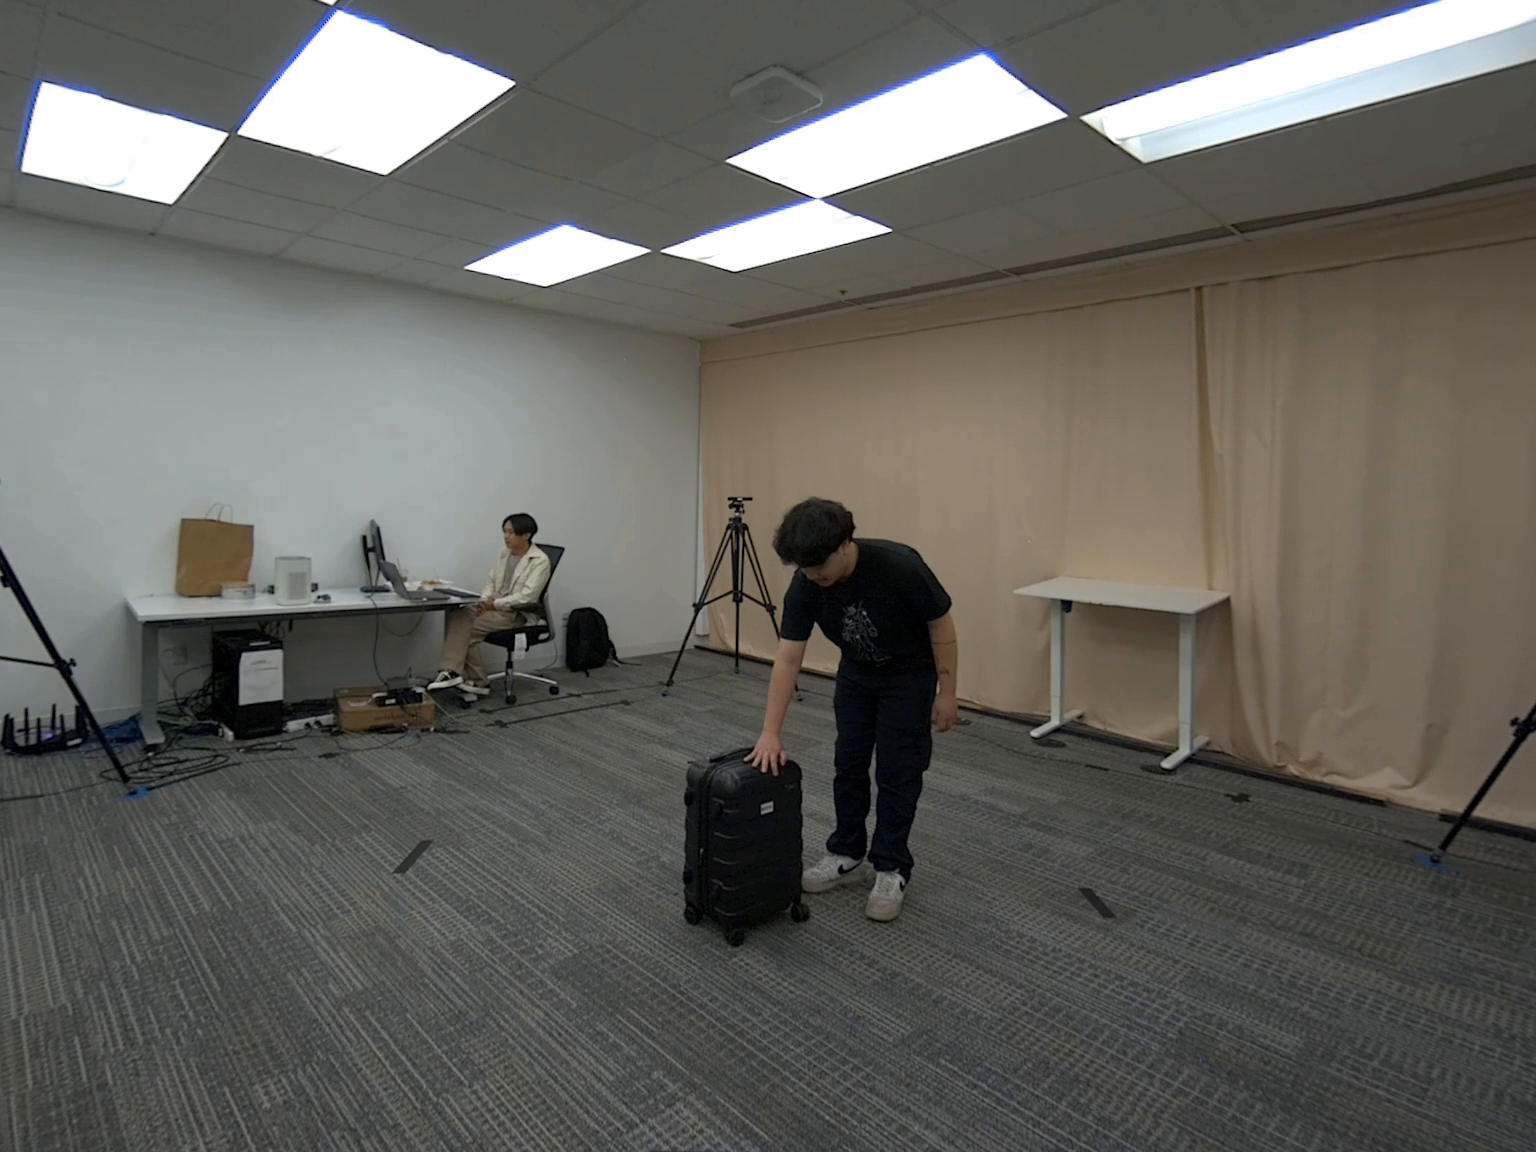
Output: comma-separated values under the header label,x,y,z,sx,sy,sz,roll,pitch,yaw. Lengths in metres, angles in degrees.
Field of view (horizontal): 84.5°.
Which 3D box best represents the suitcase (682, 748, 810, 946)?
label,x,y,z,sx,sy,sz,roll,pitch,yaw
suitcase,-0.082,0.862,2.778,0.367,0.548,0.254,-2,3,-42
